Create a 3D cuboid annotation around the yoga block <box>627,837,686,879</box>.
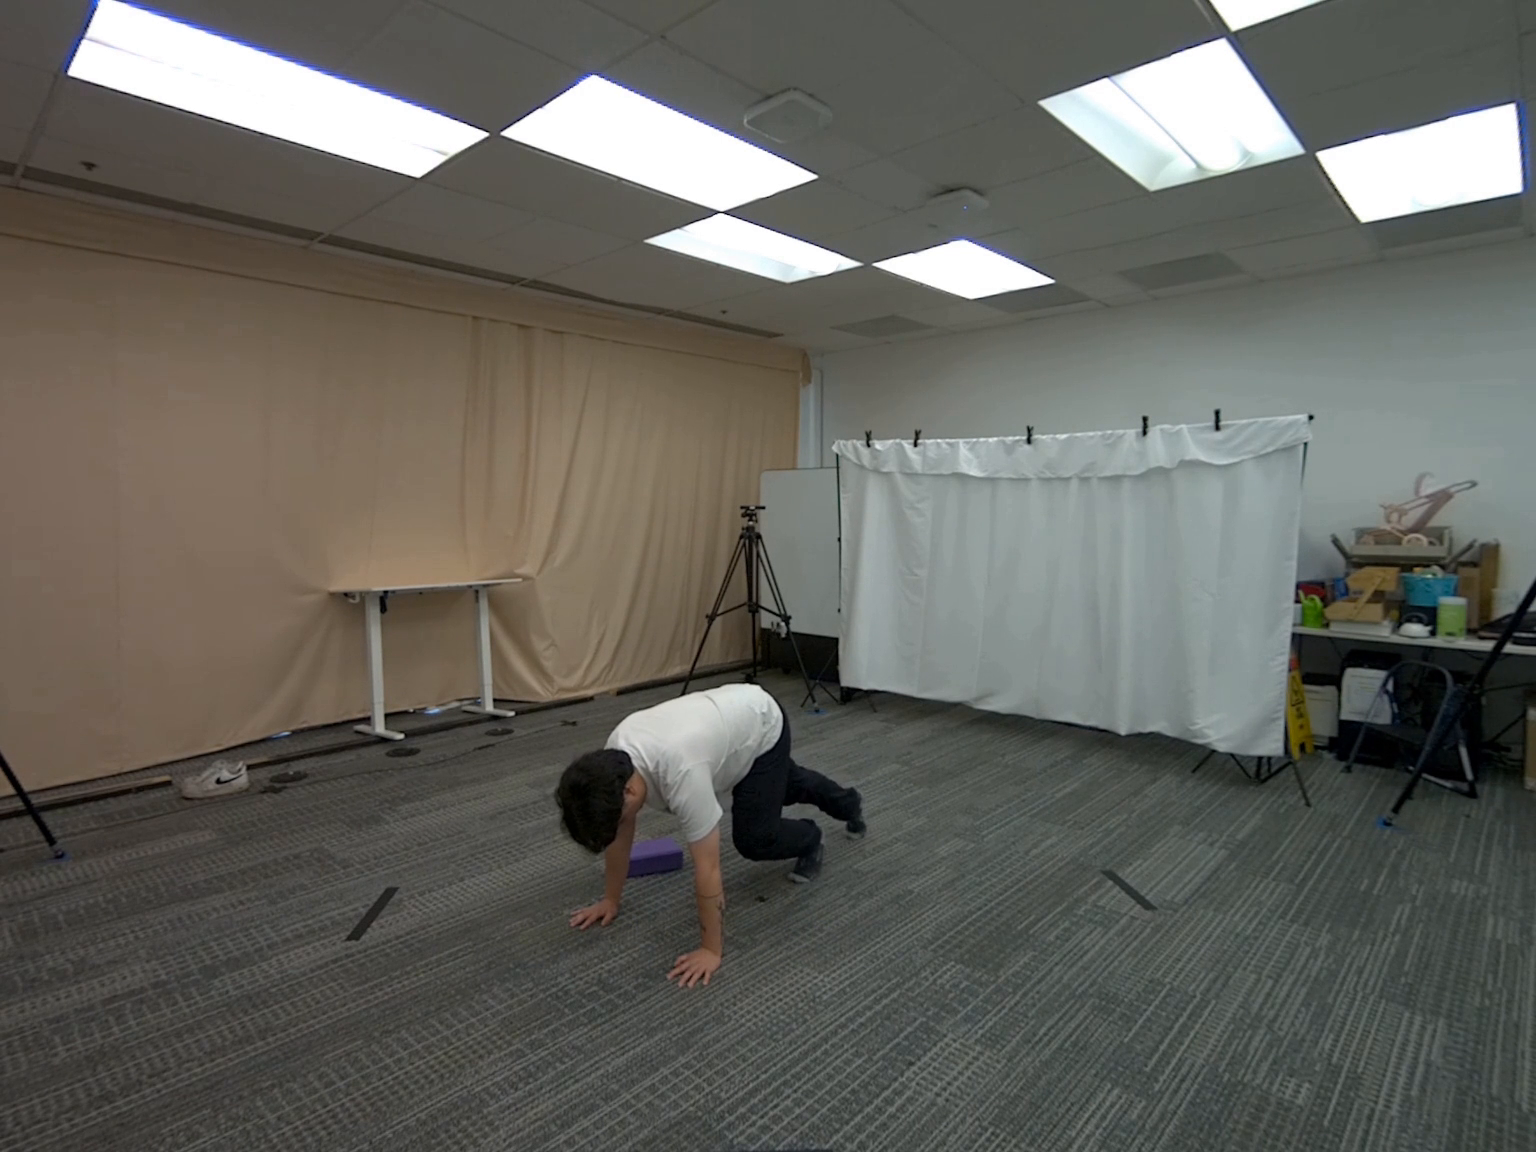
[{"bbox_3d":[-0.454,1.084,3.255,0.225,0.076,0.152,-3,5,-19],"label":"yoga block"}]
